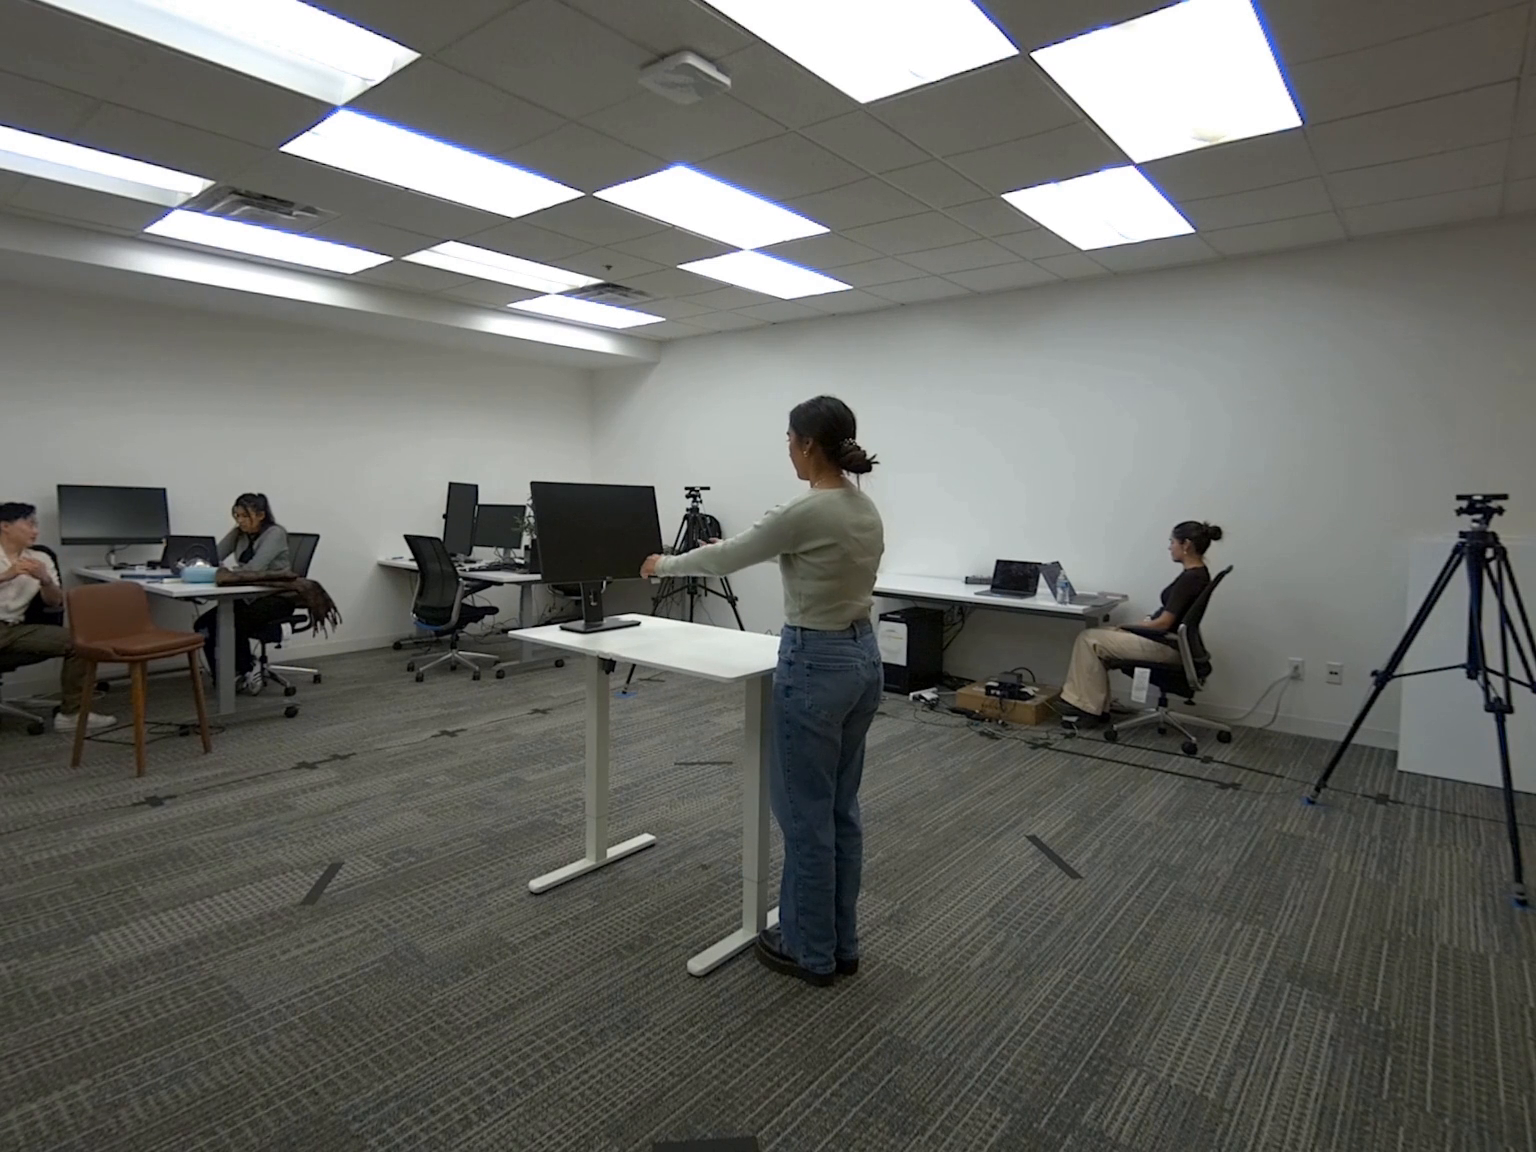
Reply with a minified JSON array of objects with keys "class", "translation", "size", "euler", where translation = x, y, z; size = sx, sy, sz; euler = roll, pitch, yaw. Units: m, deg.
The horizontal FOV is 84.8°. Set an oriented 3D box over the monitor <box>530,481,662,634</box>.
[{"class":"monitor","translation":[-0.636,-0.069,3.046],"size":[0.193,0.522,0.523],"euler":[1,3,42]}]
